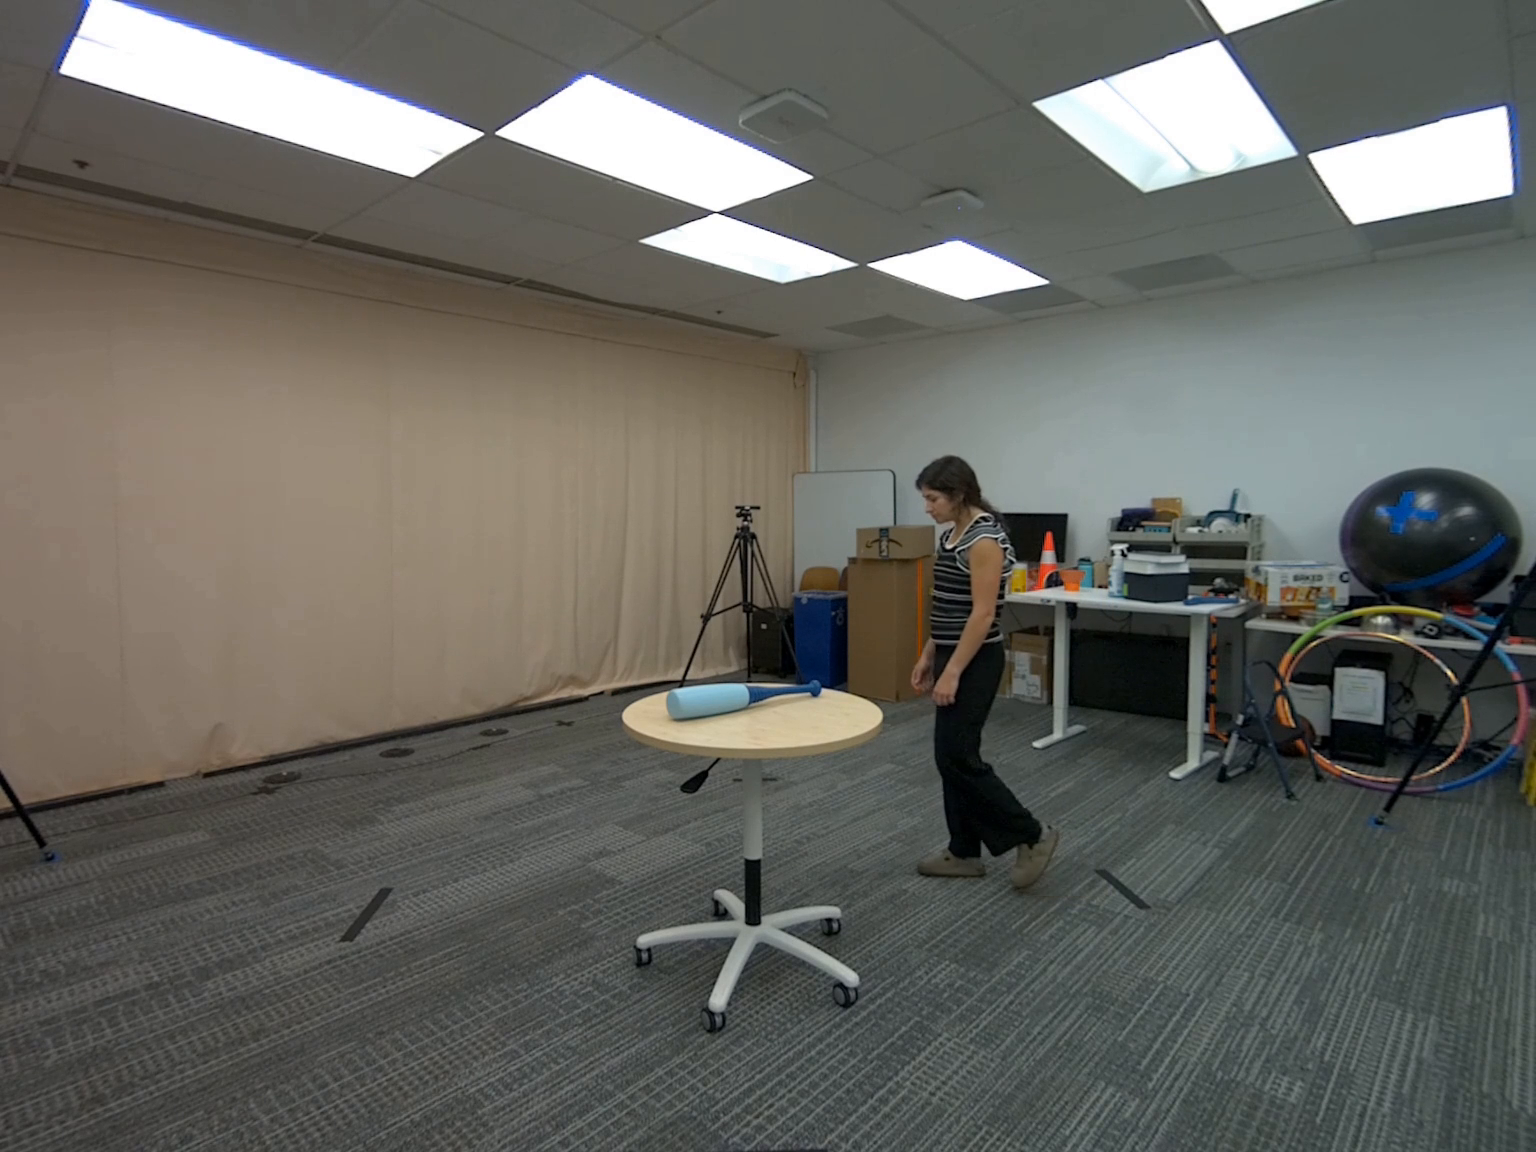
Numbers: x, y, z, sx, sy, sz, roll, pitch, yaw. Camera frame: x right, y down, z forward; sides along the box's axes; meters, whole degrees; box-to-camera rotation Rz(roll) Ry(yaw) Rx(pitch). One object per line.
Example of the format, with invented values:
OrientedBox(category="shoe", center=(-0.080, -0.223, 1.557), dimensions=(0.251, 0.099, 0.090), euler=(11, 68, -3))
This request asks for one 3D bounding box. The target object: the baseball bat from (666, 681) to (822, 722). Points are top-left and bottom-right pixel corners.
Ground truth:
OrientedBox(category="baseball bat", center=(-0.053, 0.363, 2.535), dimensions=(0.527, 0.089, 0.092), euler=(-2, 4, -33))
